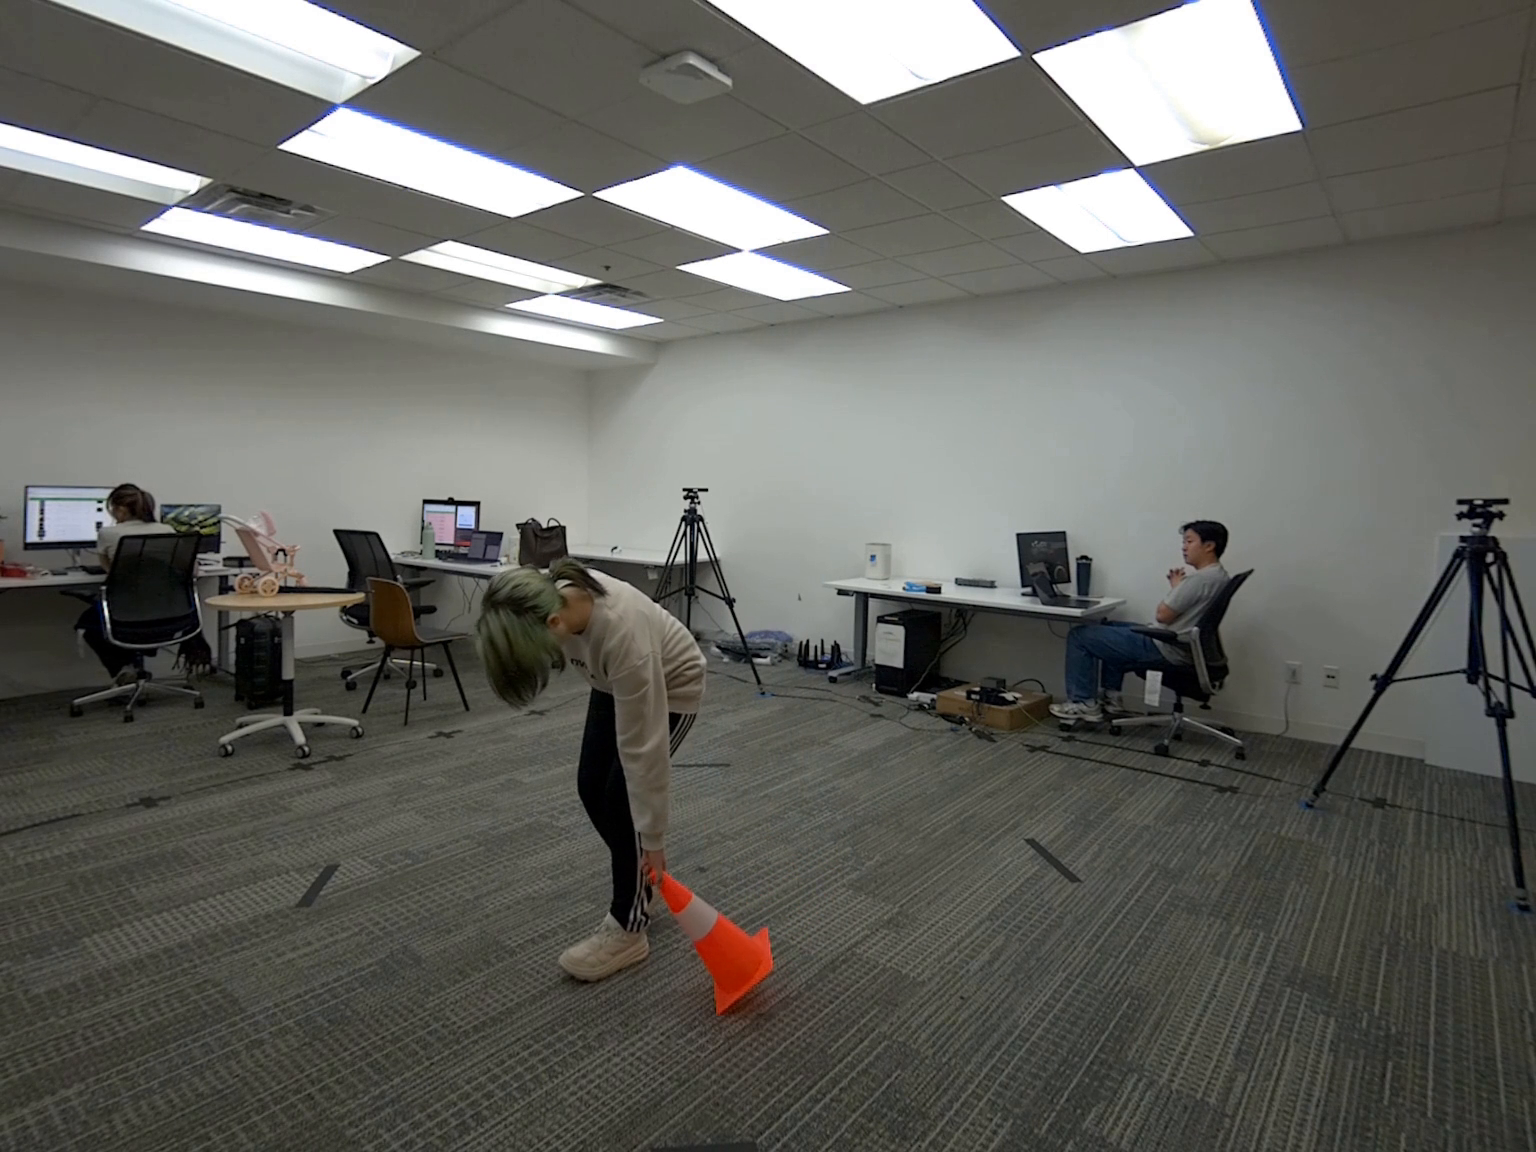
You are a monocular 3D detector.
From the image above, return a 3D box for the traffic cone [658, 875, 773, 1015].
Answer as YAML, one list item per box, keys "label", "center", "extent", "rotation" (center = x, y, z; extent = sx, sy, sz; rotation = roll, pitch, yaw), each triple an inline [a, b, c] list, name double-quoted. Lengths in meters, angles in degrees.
- label: "traffic cone"
  center: [-0.195, 0.942, 2.309]
  extent: [0.203, 0.379, 0.207]
  rotation: [-40, 10, 5]
